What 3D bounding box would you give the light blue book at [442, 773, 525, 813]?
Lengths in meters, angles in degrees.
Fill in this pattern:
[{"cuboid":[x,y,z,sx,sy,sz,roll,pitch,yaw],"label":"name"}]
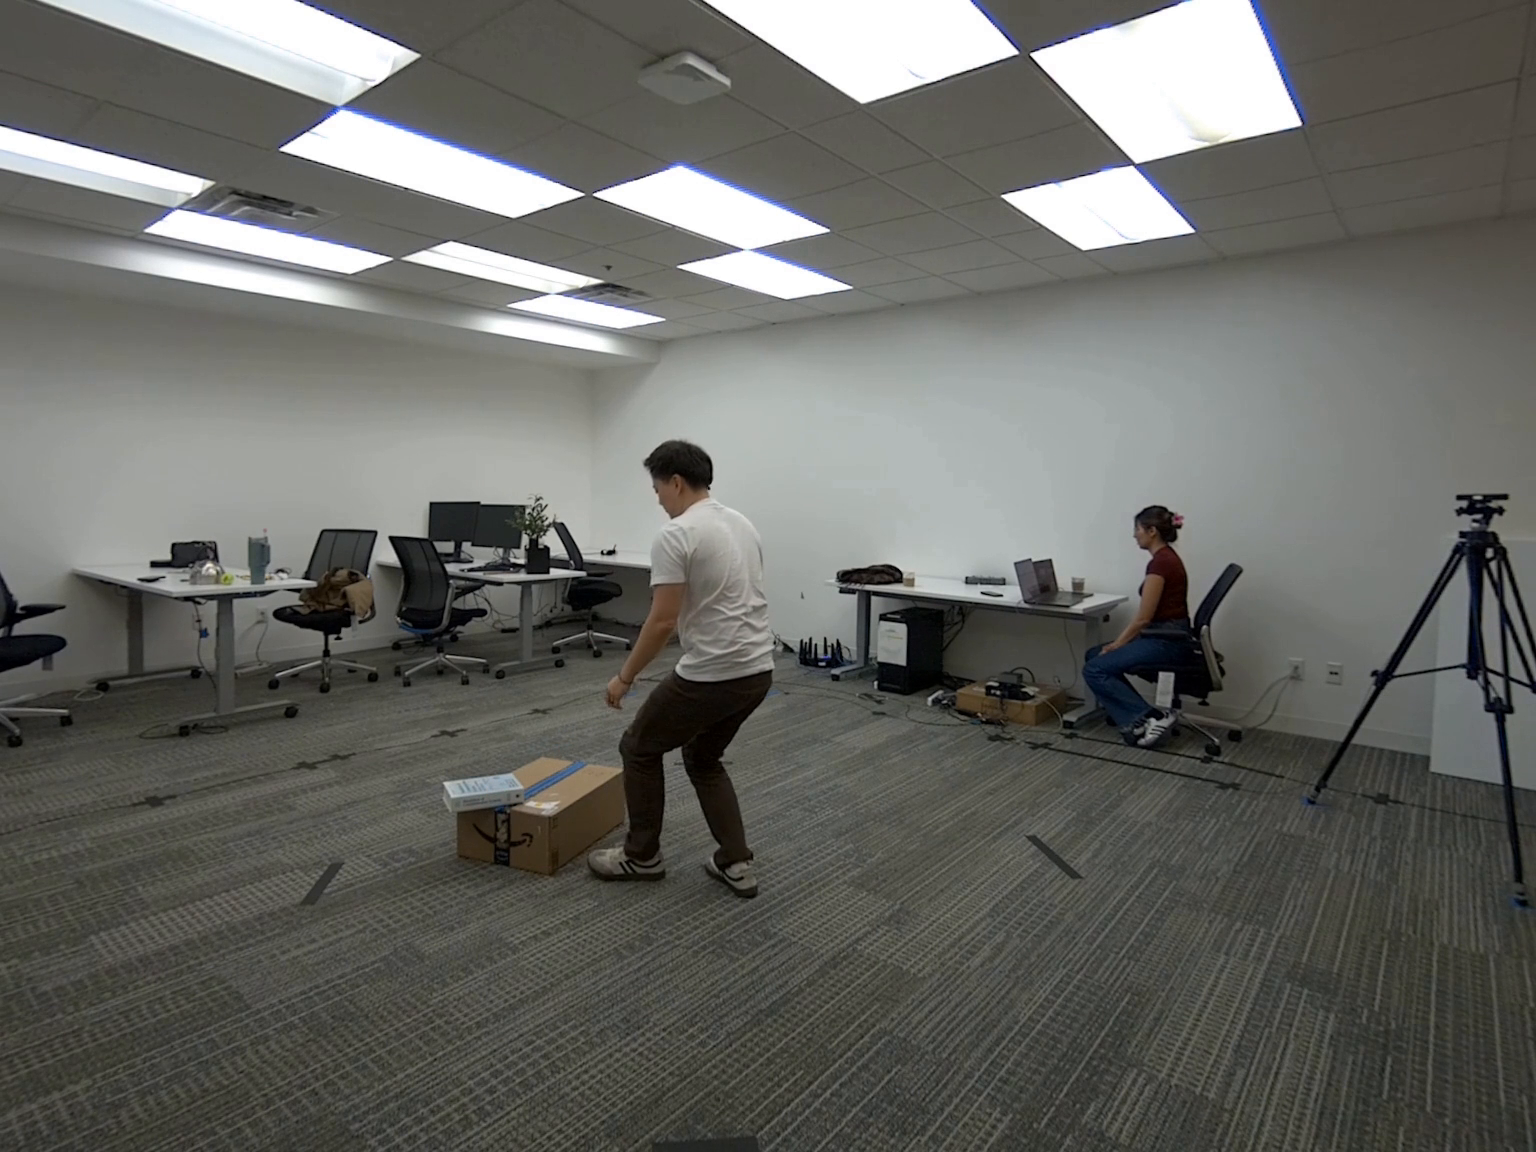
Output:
[{"cuboid":[-1.075,0.805,3.164,0.254,0.059,0.197,-2,4,-28],"label":"light blue book"}]
